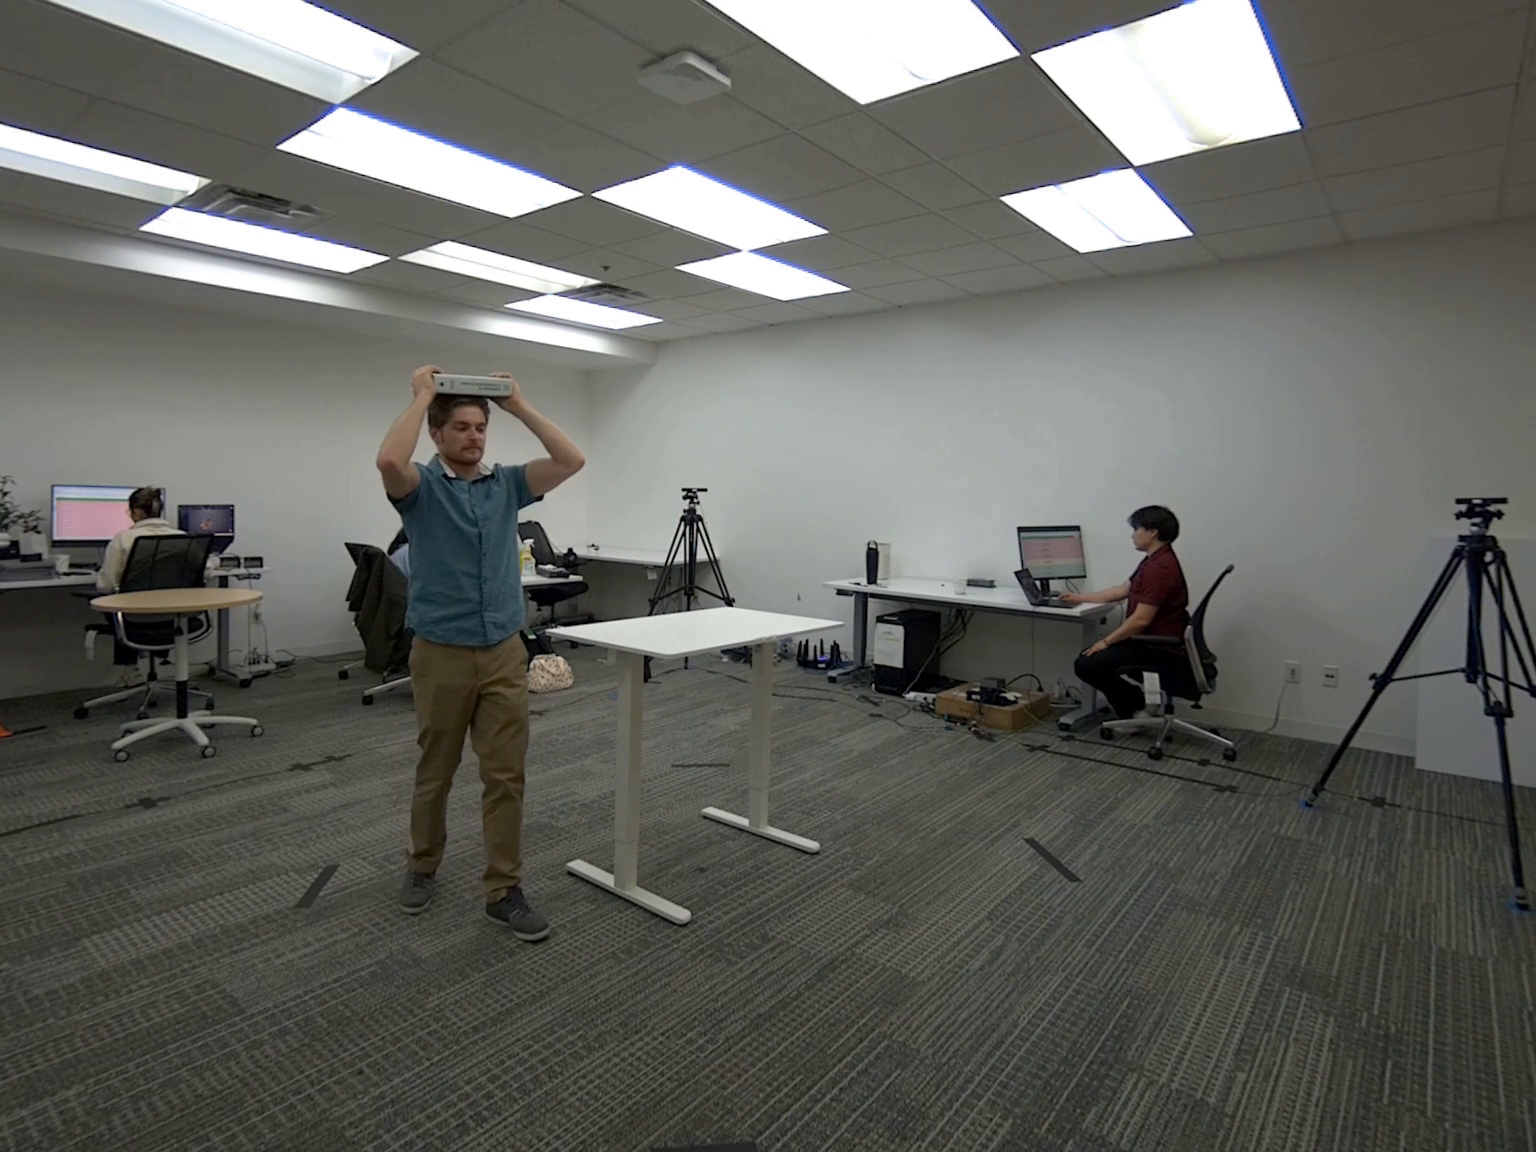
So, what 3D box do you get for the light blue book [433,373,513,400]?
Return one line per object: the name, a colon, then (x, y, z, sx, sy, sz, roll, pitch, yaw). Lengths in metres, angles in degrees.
light blue book: (-0.996, -0.611, 2.720, 0.254, 0.058, 0.199, -8, 16, -42)
